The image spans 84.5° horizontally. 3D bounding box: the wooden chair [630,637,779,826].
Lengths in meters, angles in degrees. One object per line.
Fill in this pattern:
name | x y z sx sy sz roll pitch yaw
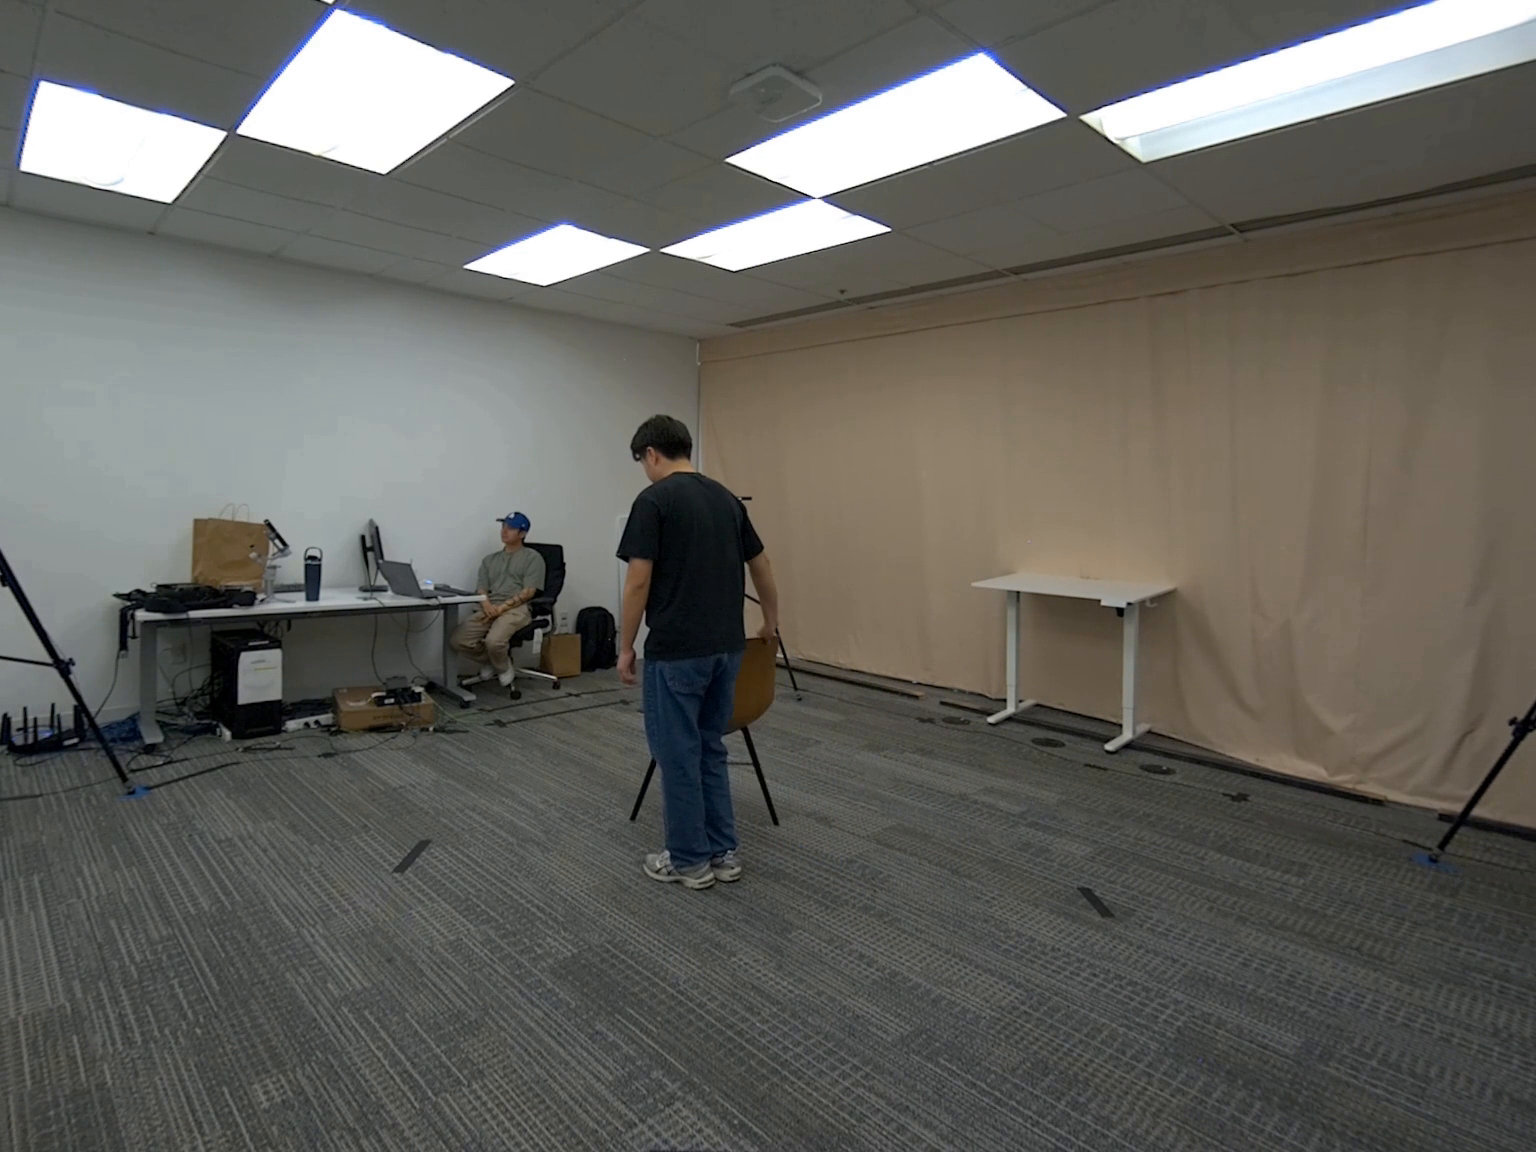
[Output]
wooden chair | -0.261 0.636 3.576 0.537 0.874 0.467 11 8 42
